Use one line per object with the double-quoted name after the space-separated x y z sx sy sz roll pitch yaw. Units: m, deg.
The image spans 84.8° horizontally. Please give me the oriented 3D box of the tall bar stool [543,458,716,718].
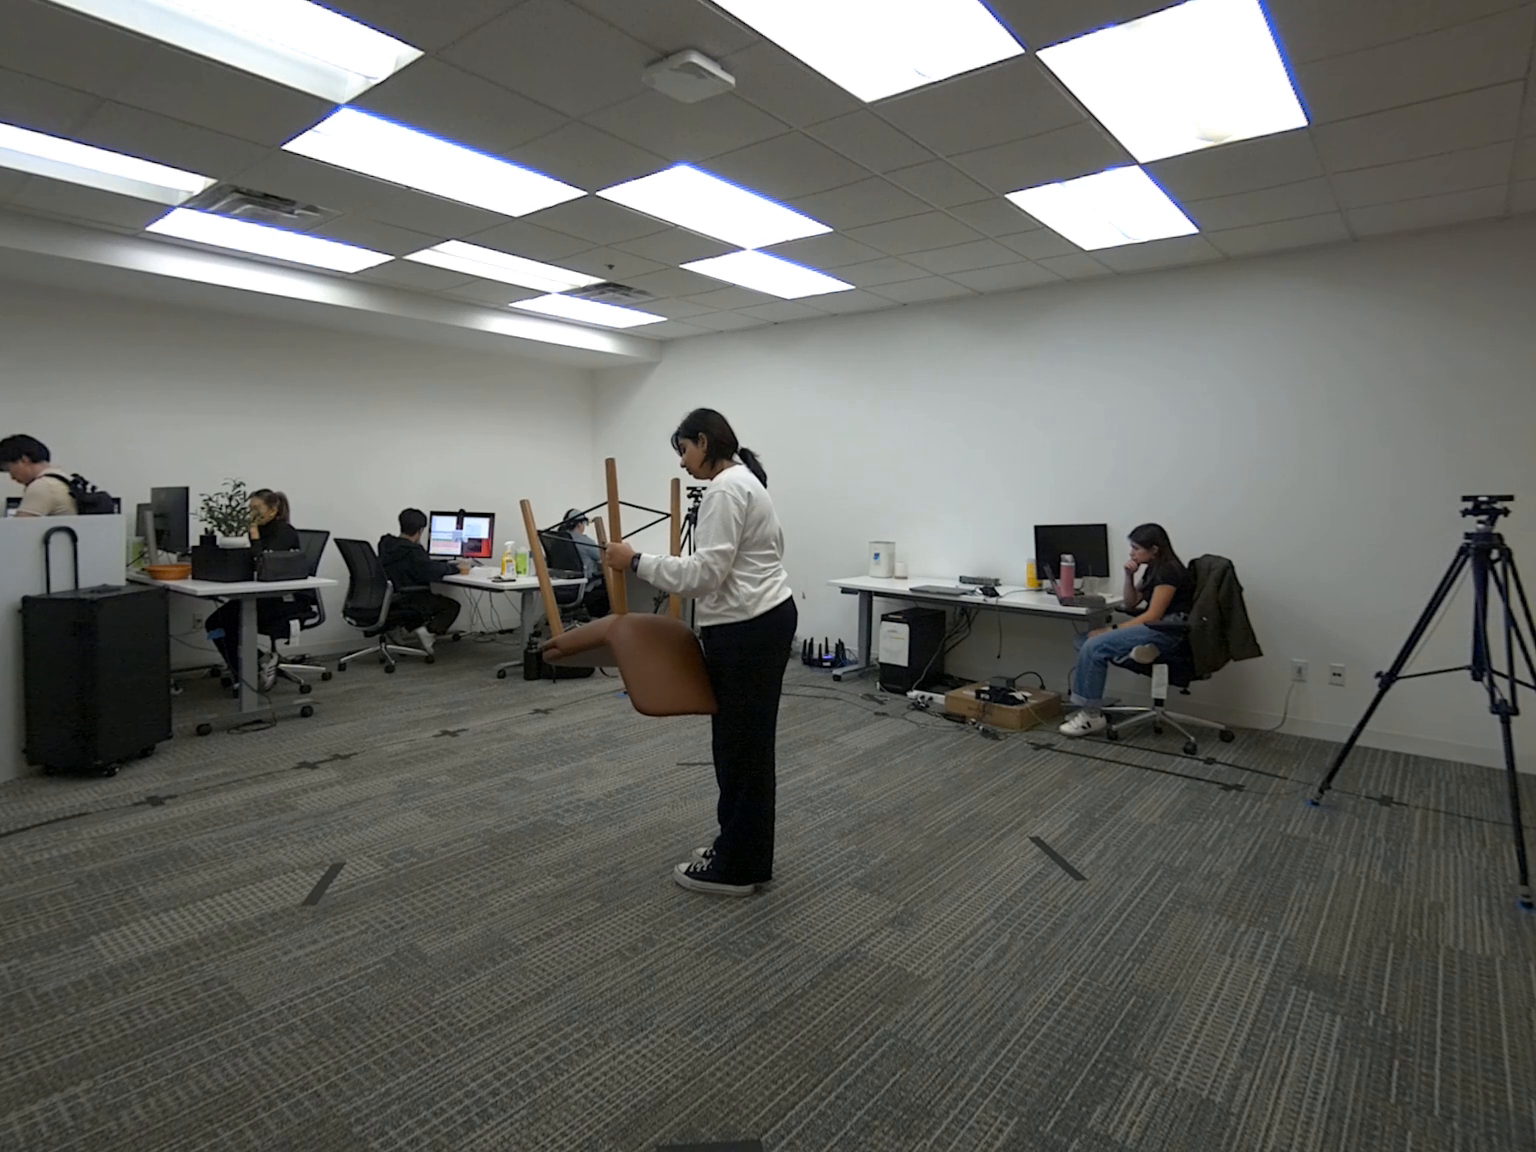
-0.527 0.100 2.974 0.475 0.909 0.440 -23 -21 31 "tall bar stool"
